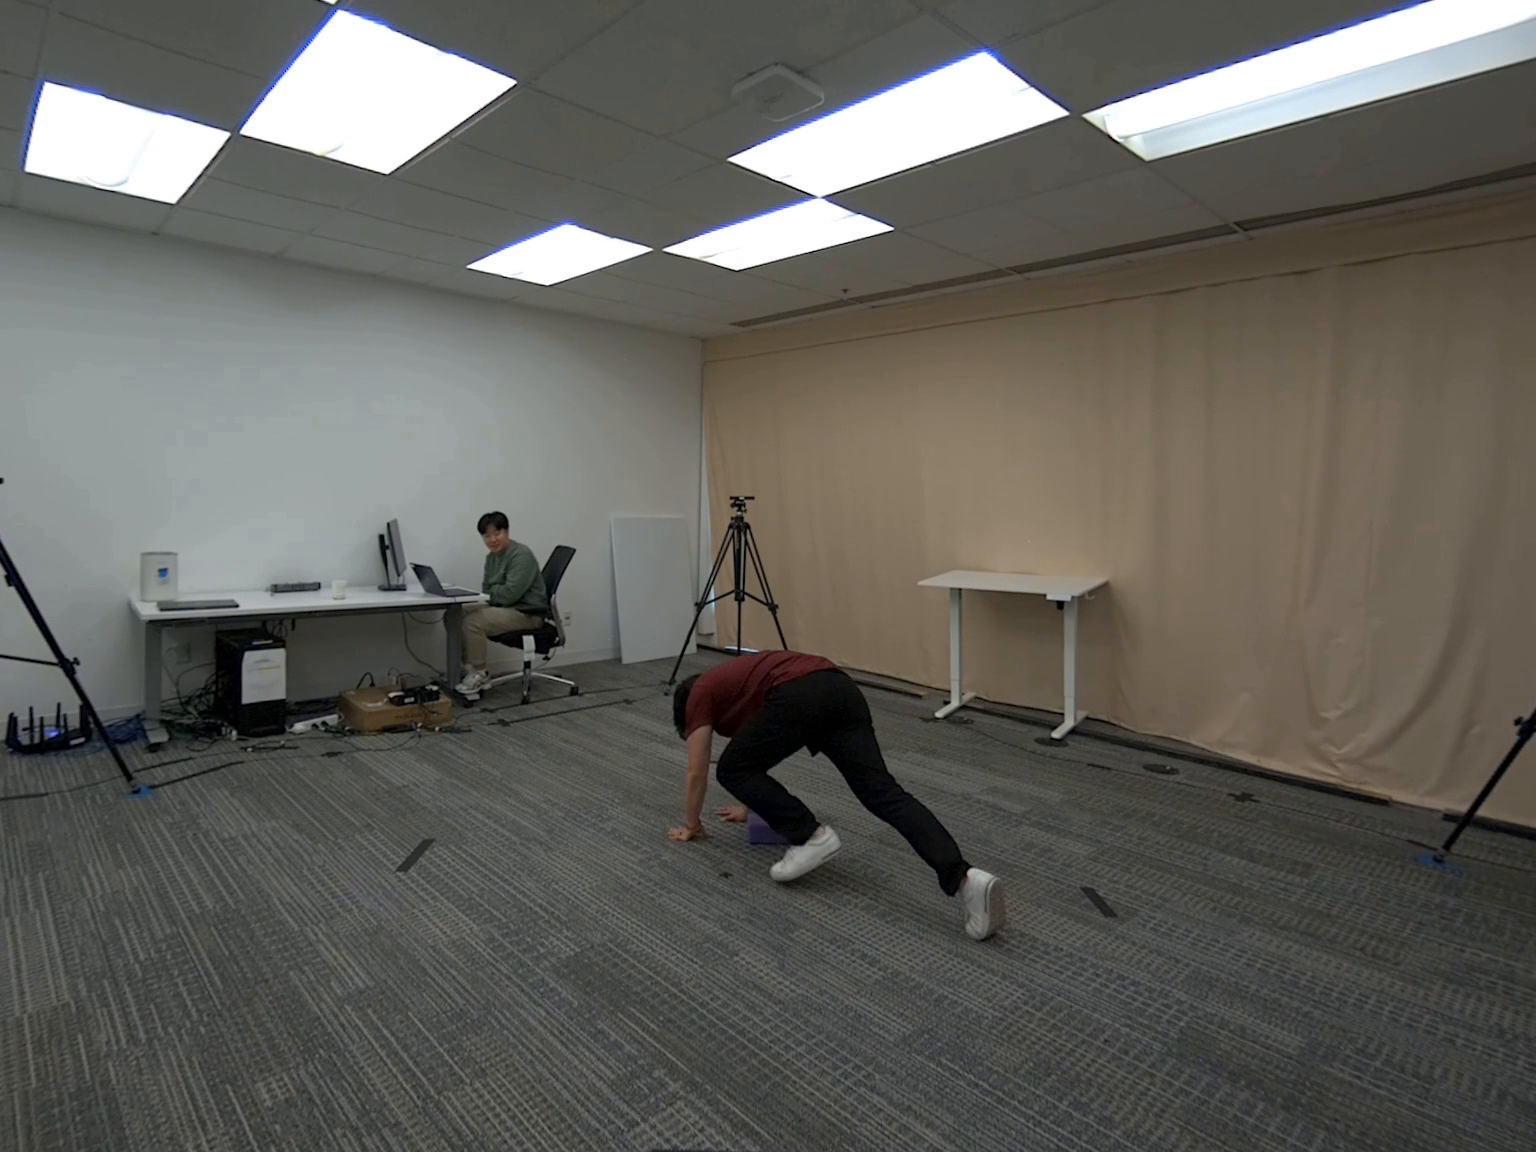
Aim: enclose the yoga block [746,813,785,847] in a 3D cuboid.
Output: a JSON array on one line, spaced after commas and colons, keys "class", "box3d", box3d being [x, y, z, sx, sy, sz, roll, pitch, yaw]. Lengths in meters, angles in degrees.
[{"class": "yoga block", "box3d": [0.030, 1.040, 3.456, 0.229, 0.076, 0.149, 2, 5, -1]}]
